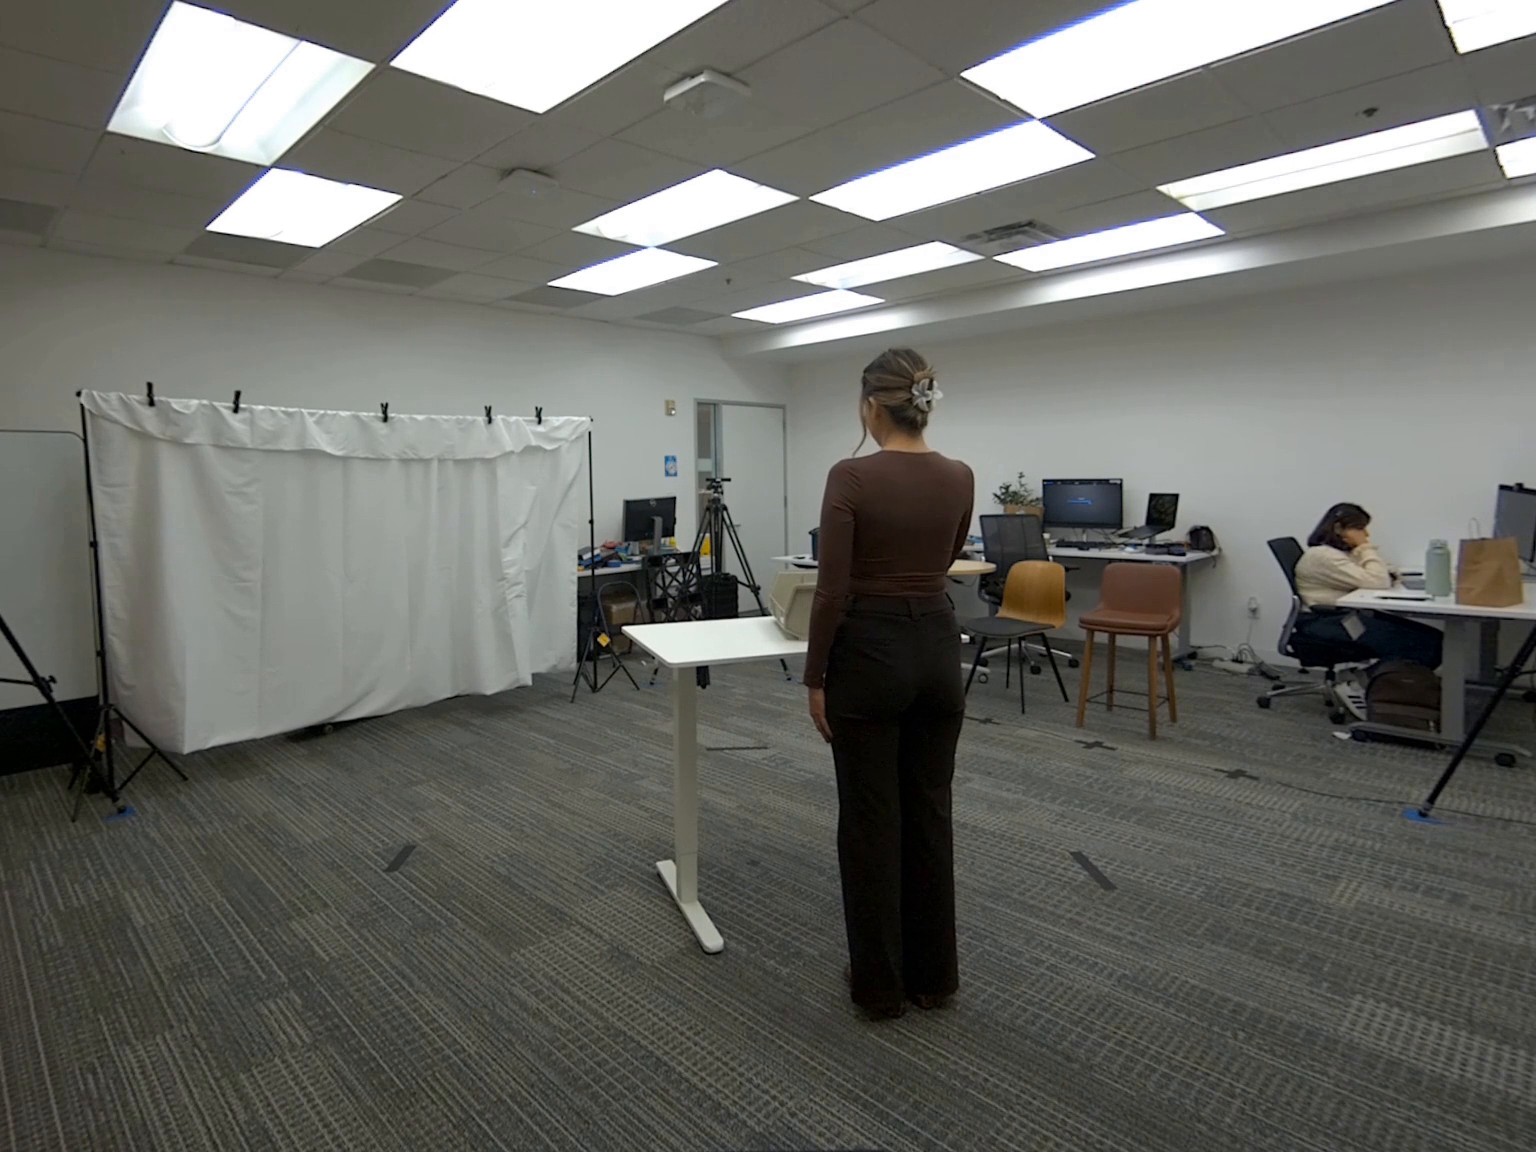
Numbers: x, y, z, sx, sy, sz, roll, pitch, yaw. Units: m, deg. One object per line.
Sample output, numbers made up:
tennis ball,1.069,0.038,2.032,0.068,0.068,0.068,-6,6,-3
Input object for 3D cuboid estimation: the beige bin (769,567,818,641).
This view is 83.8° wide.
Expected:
beige bin,0.204,0.097,2.886,0.375,0.188,0.426,-2,6,-6
